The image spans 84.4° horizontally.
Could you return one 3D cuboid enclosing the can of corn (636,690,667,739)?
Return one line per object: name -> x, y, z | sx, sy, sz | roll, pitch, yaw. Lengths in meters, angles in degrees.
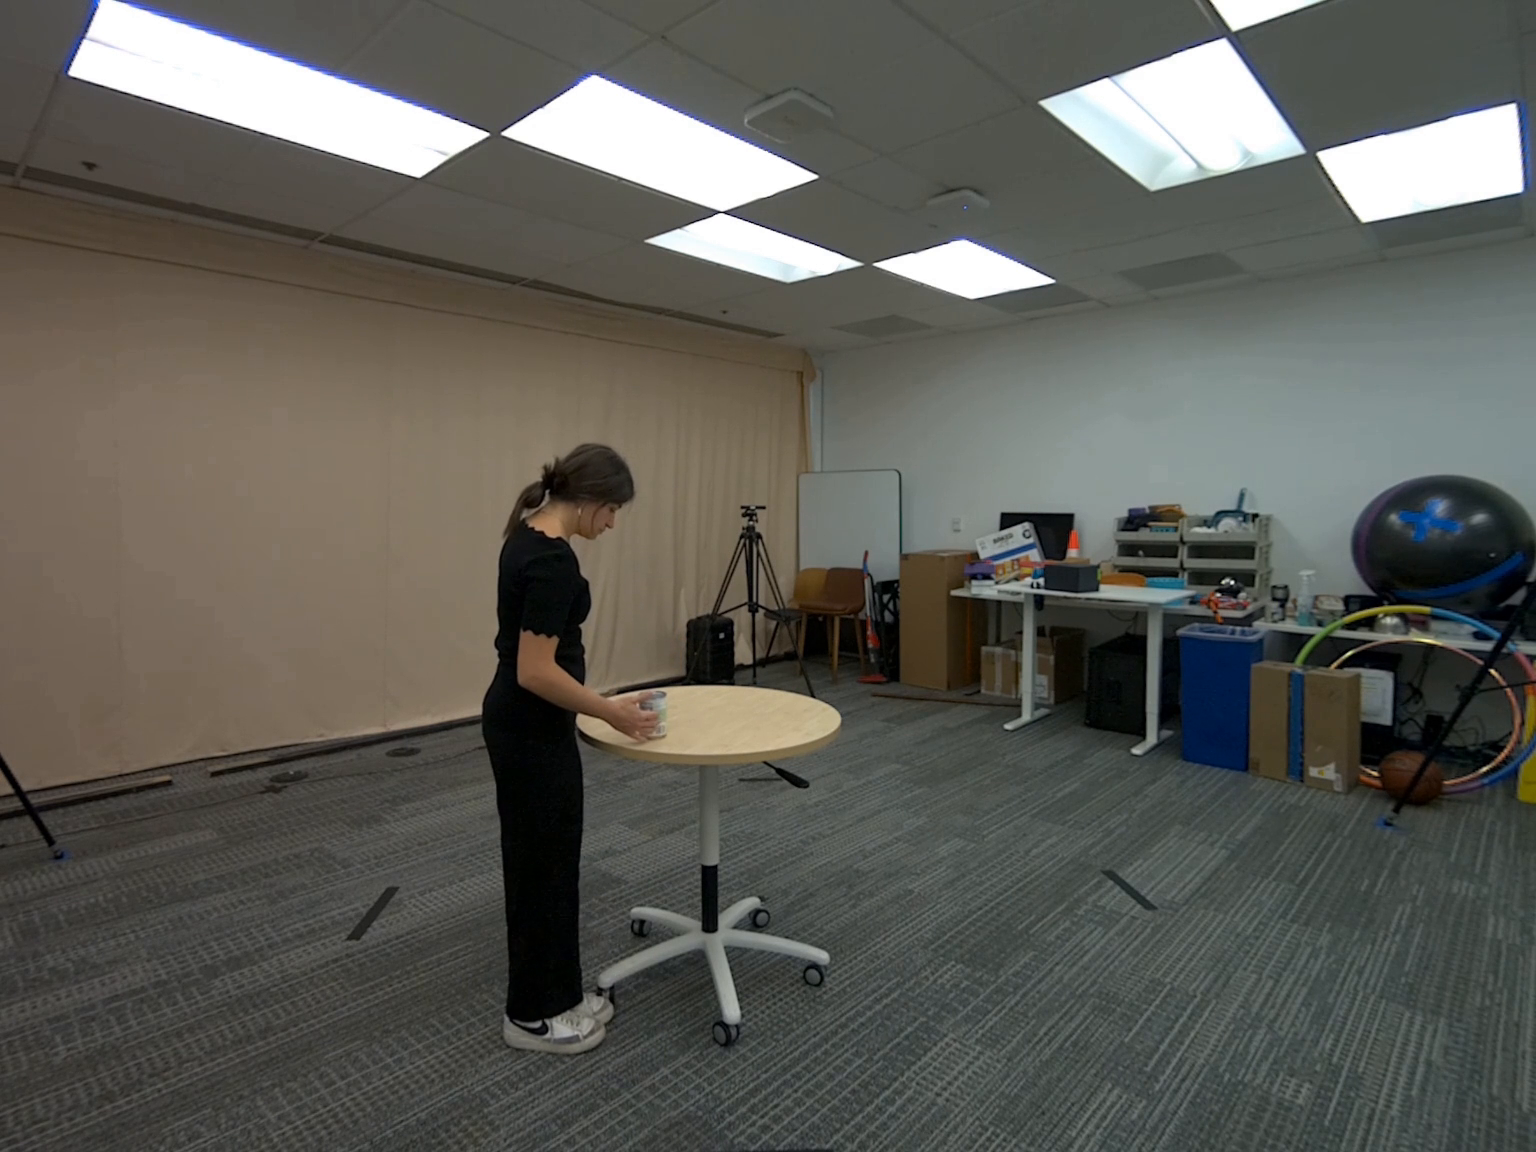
can of corn -> -0.306, 0.374, 2.207 | 0.074, 0.111, 0.074 | 0, 2, -2
